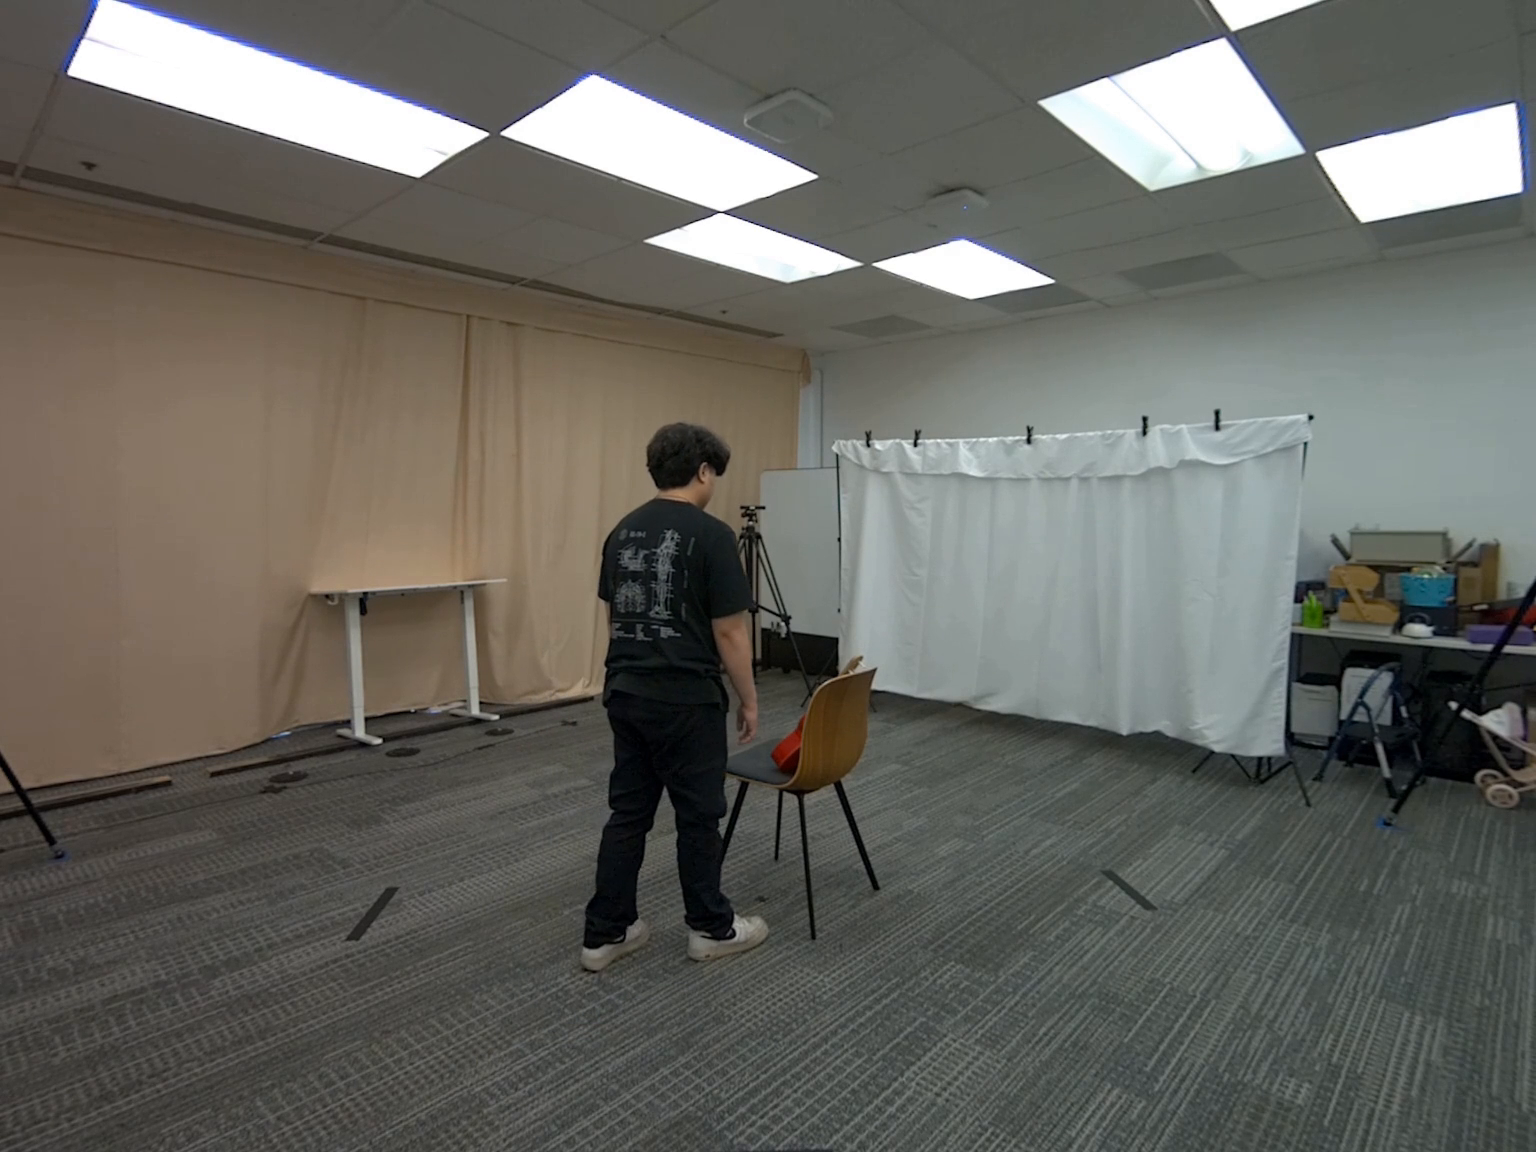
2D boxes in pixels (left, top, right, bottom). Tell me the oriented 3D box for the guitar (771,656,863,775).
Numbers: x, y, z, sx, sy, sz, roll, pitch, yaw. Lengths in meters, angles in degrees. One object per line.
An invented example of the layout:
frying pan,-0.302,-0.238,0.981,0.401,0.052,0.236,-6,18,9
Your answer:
guitar,0.170,0.468,2.853,0.187,0.497,0.073,-6,43,-48
